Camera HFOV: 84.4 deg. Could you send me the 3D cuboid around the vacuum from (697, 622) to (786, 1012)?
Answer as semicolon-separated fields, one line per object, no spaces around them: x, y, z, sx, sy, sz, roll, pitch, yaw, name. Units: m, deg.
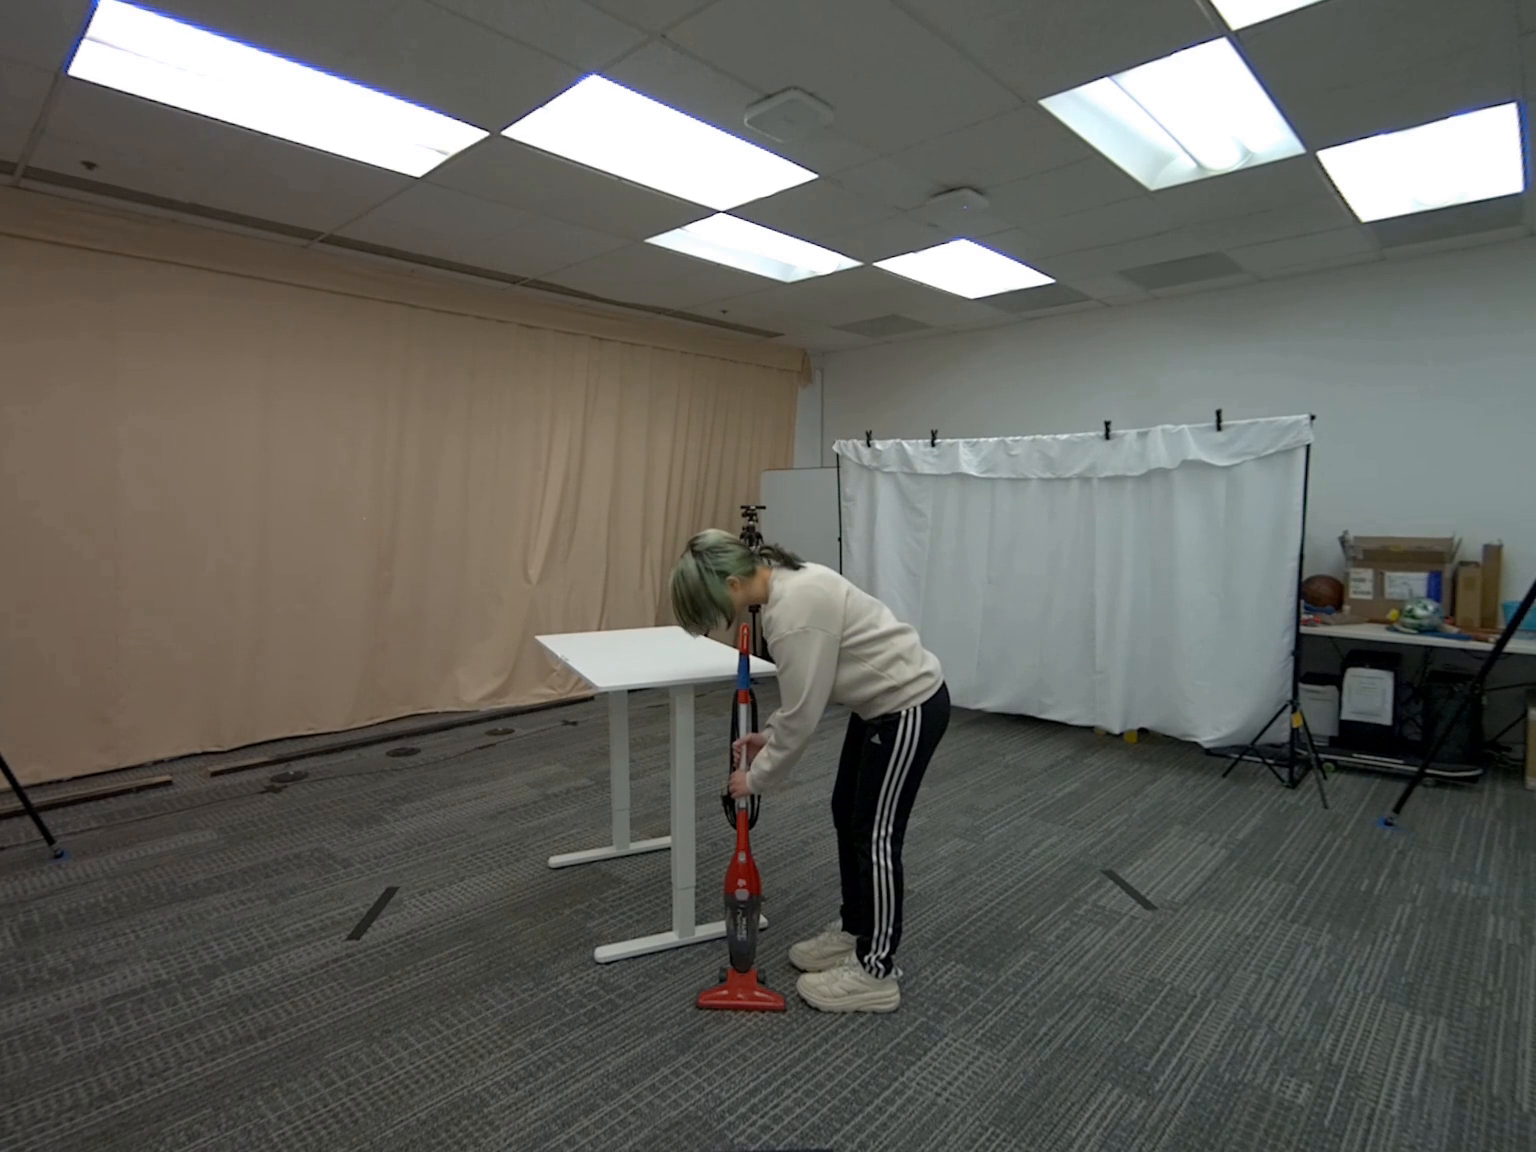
-0.066;0.686;2.485;0.253;1.056;0.142;0;-11;2;vacuum
